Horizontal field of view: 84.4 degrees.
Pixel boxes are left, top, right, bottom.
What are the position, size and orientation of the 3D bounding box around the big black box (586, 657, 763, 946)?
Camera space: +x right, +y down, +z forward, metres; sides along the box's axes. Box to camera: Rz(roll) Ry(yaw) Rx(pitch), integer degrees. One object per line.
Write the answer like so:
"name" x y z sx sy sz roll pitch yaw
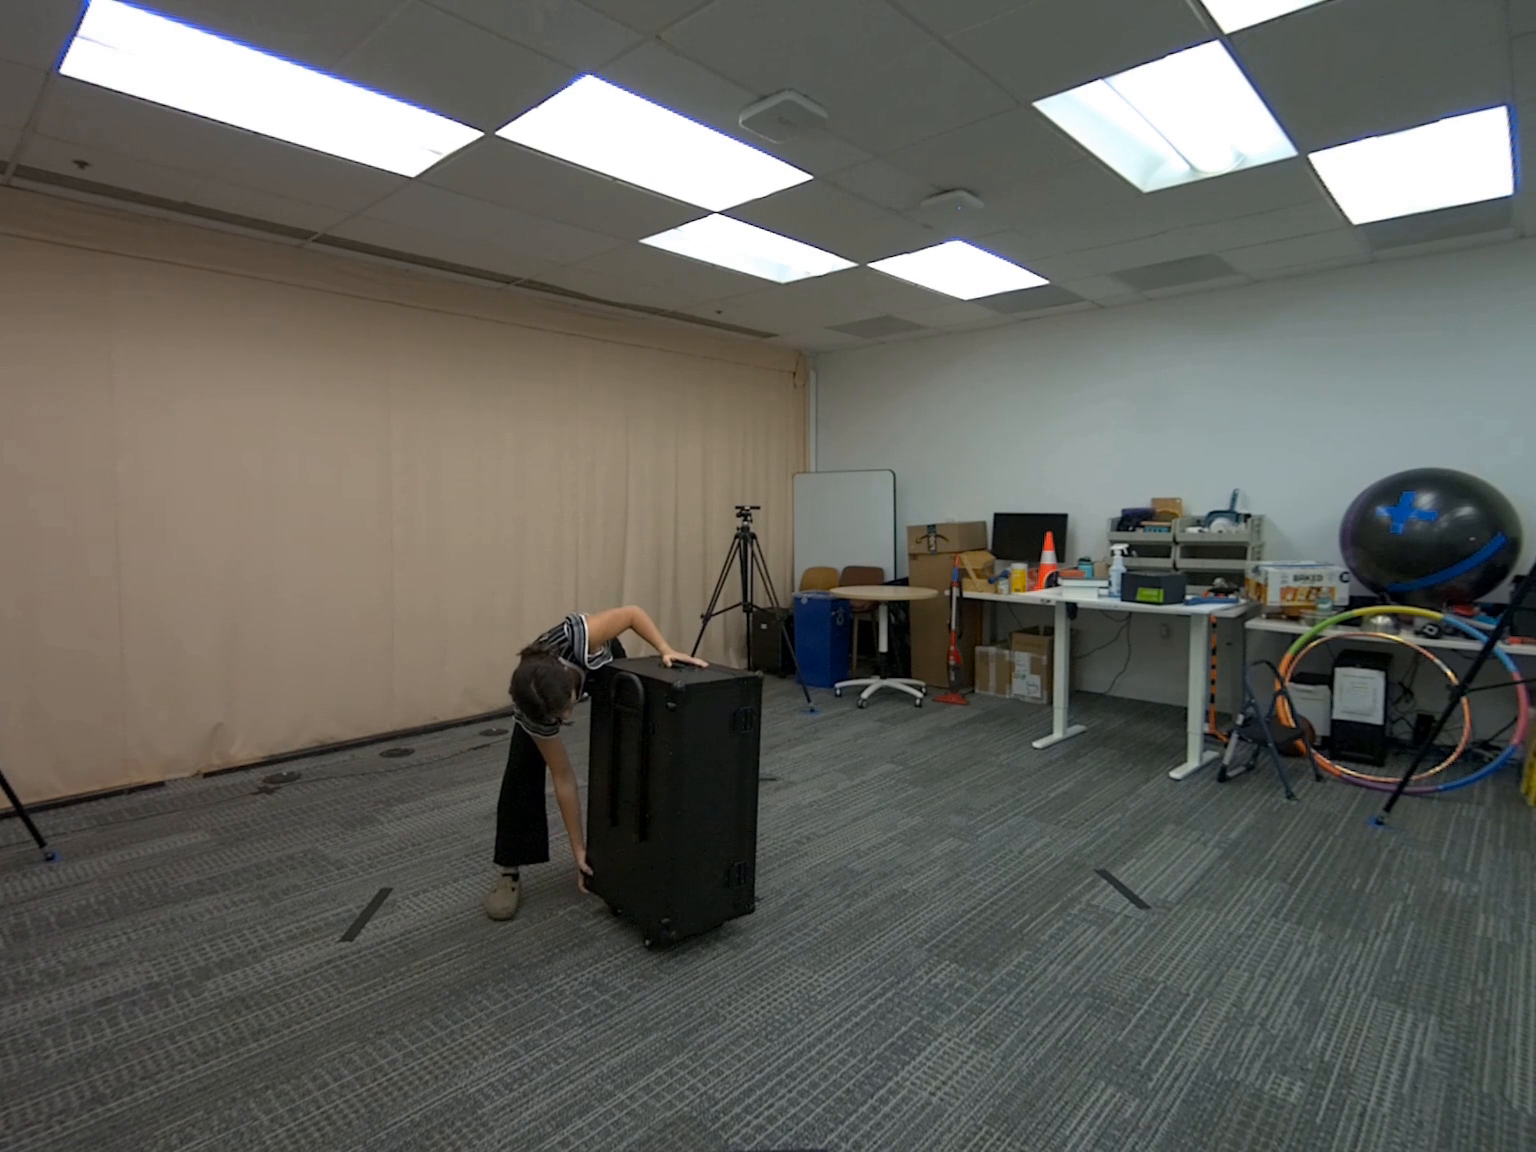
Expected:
"big black box" -0.320 0.735 2.795 0.384 0.860 0.539 -1 4 -42
